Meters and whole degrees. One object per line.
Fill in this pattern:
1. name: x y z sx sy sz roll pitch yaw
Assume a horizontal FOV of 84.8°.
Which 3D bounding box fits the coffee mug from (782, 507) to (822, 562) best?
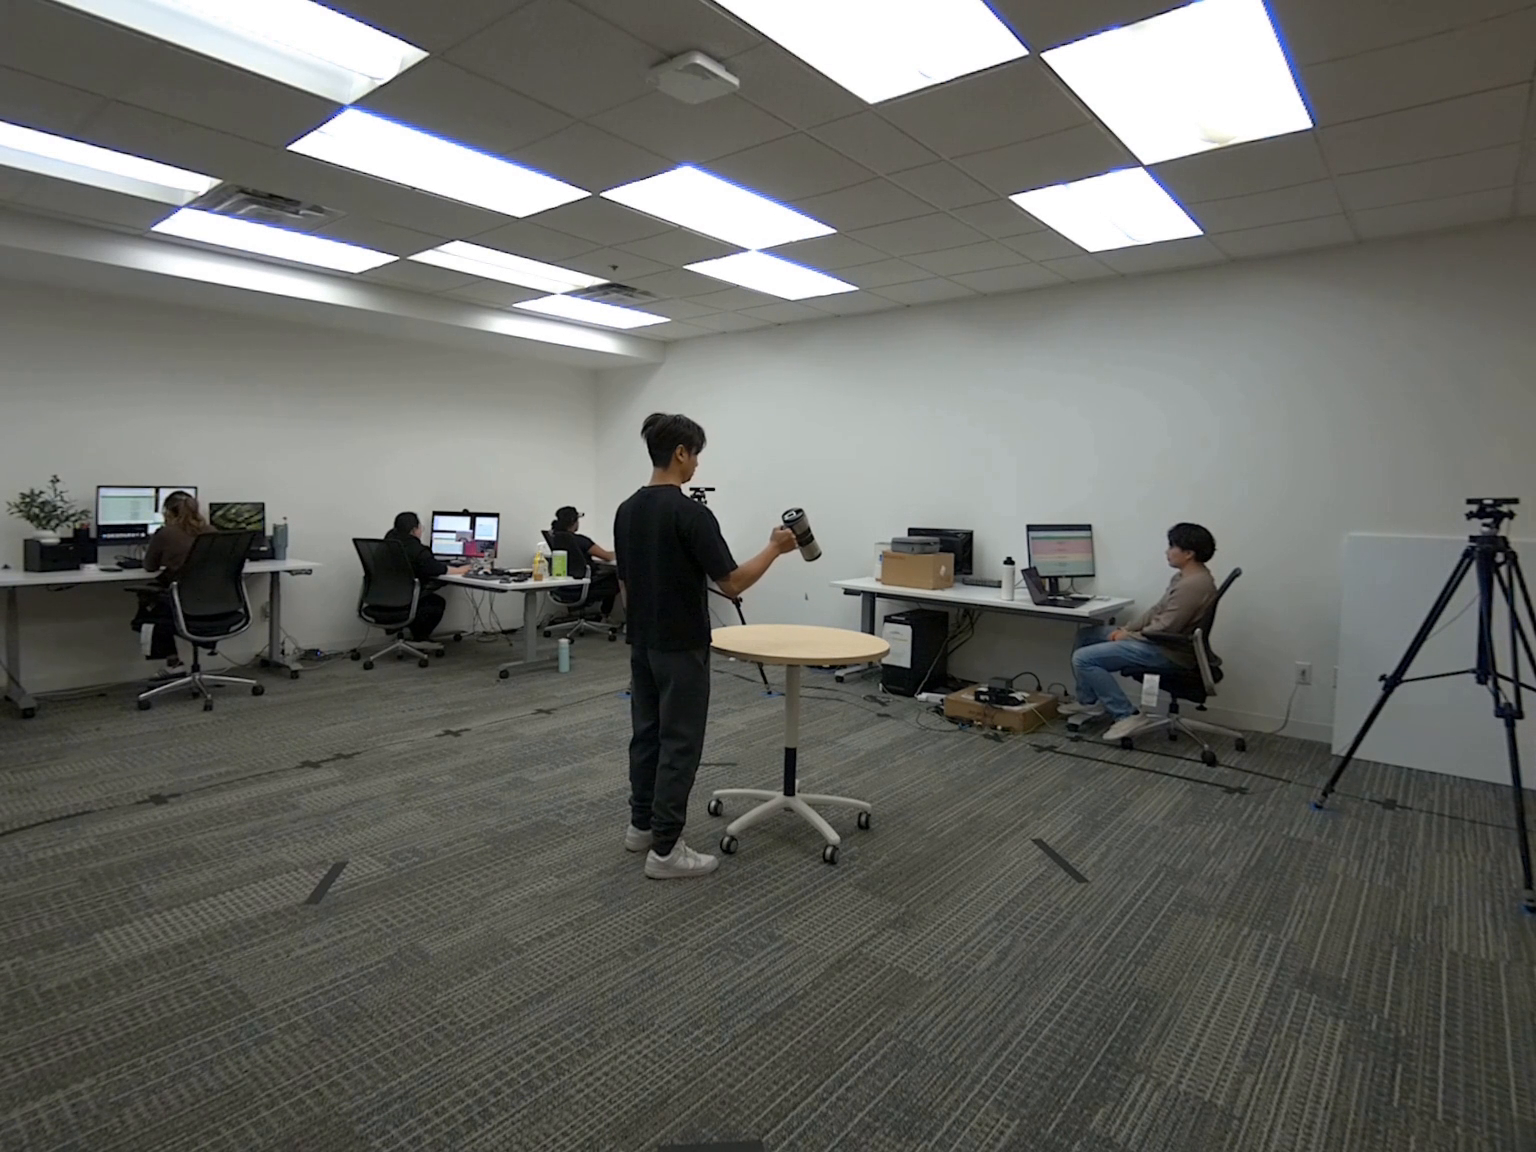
1. coffee mug: 0.112 -0.156 3.187 0.087 0.197 0.126 -41 28 -26
